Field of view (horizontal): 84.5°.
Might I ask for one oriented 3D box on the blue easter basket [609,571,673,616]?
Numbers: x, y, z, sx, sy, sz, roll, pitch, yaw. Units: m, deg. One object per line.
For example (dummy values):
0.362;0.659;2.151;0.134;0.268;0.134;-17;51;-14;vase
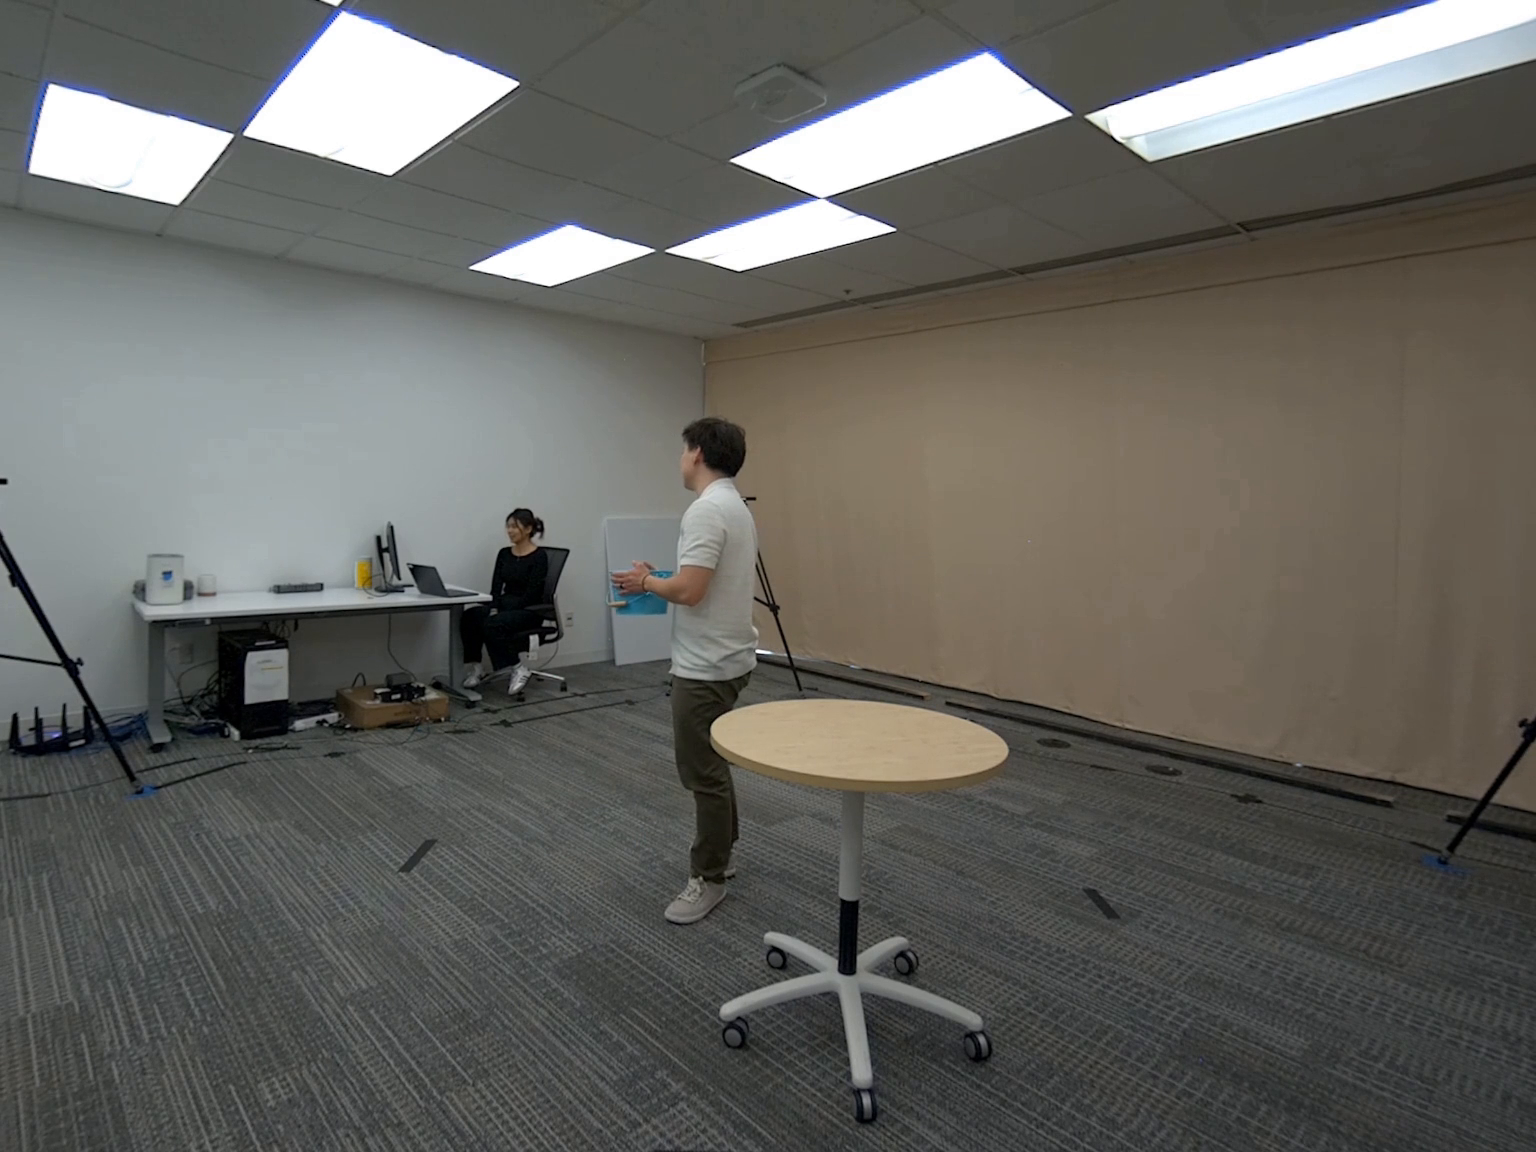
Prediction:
-0.458;0.060;2.988;0.243;0.156;0.244;1;1;-1;blue easter basket
